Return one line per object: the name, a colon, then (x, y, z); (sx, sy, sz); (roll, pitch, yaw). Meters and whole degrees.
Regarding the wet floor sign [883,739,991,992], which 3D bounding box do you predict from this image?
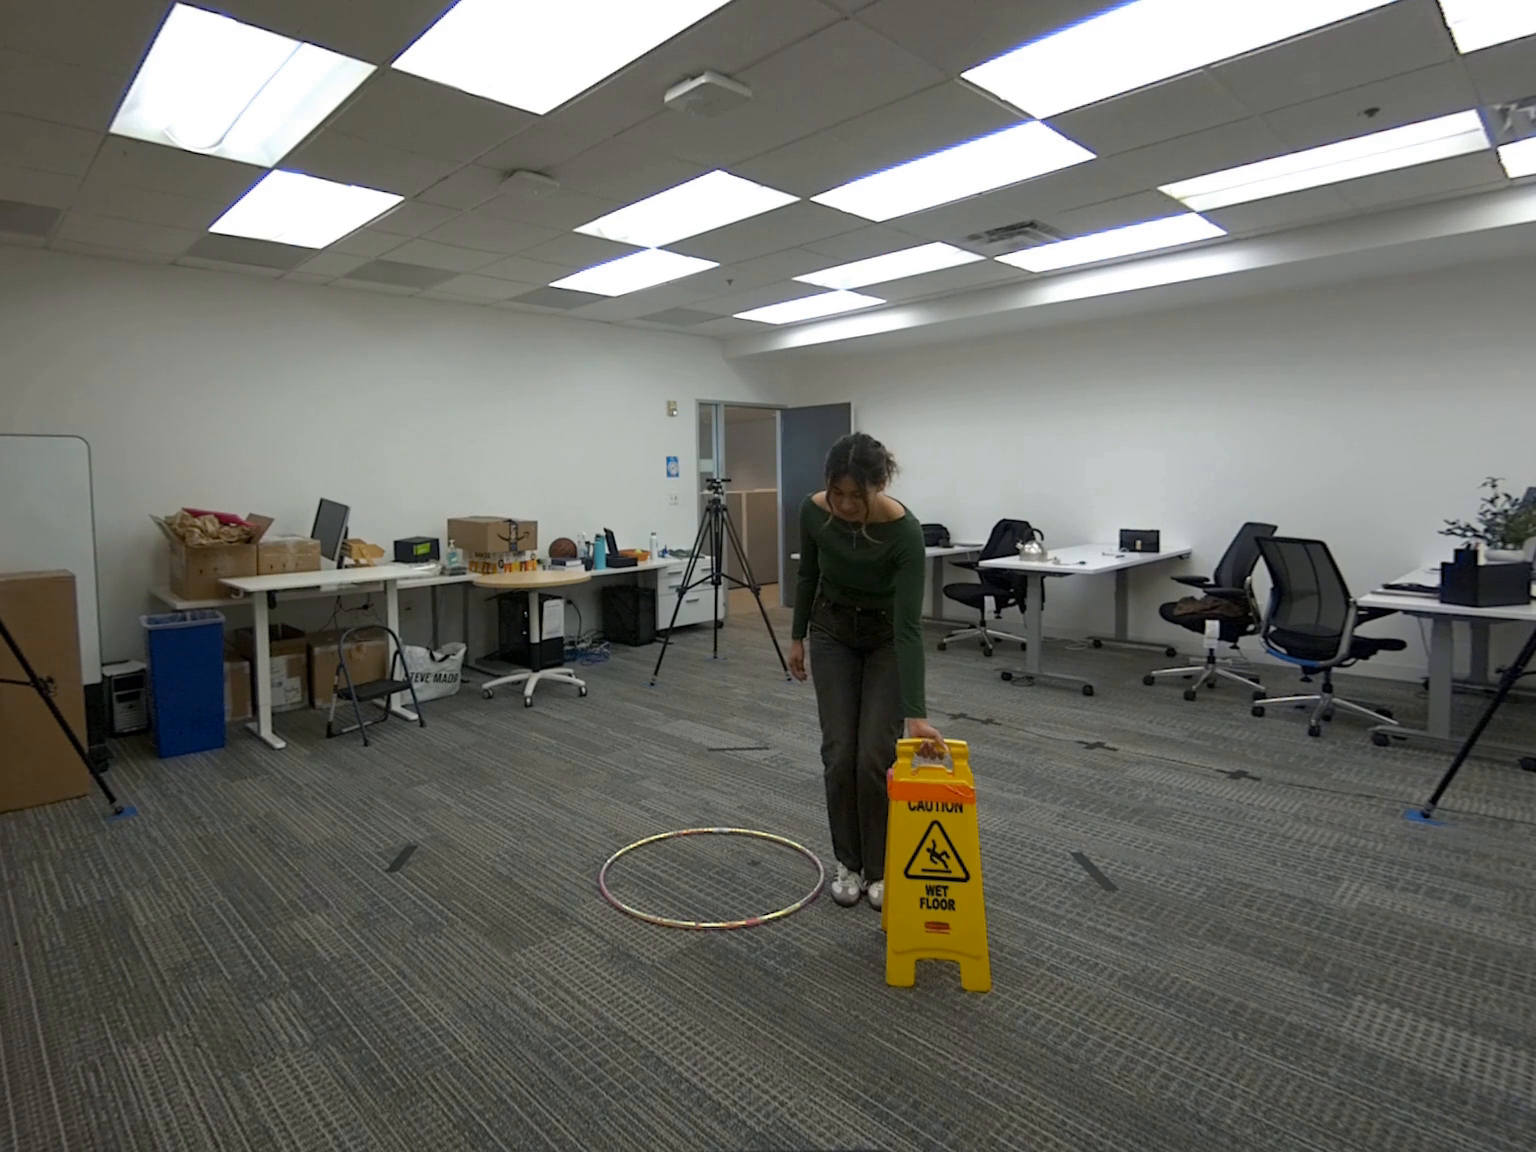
wet floor sign: (0.476, 0.781, 2.454); (0.284, 0.644, 0.288); (-1, 4, 7)
